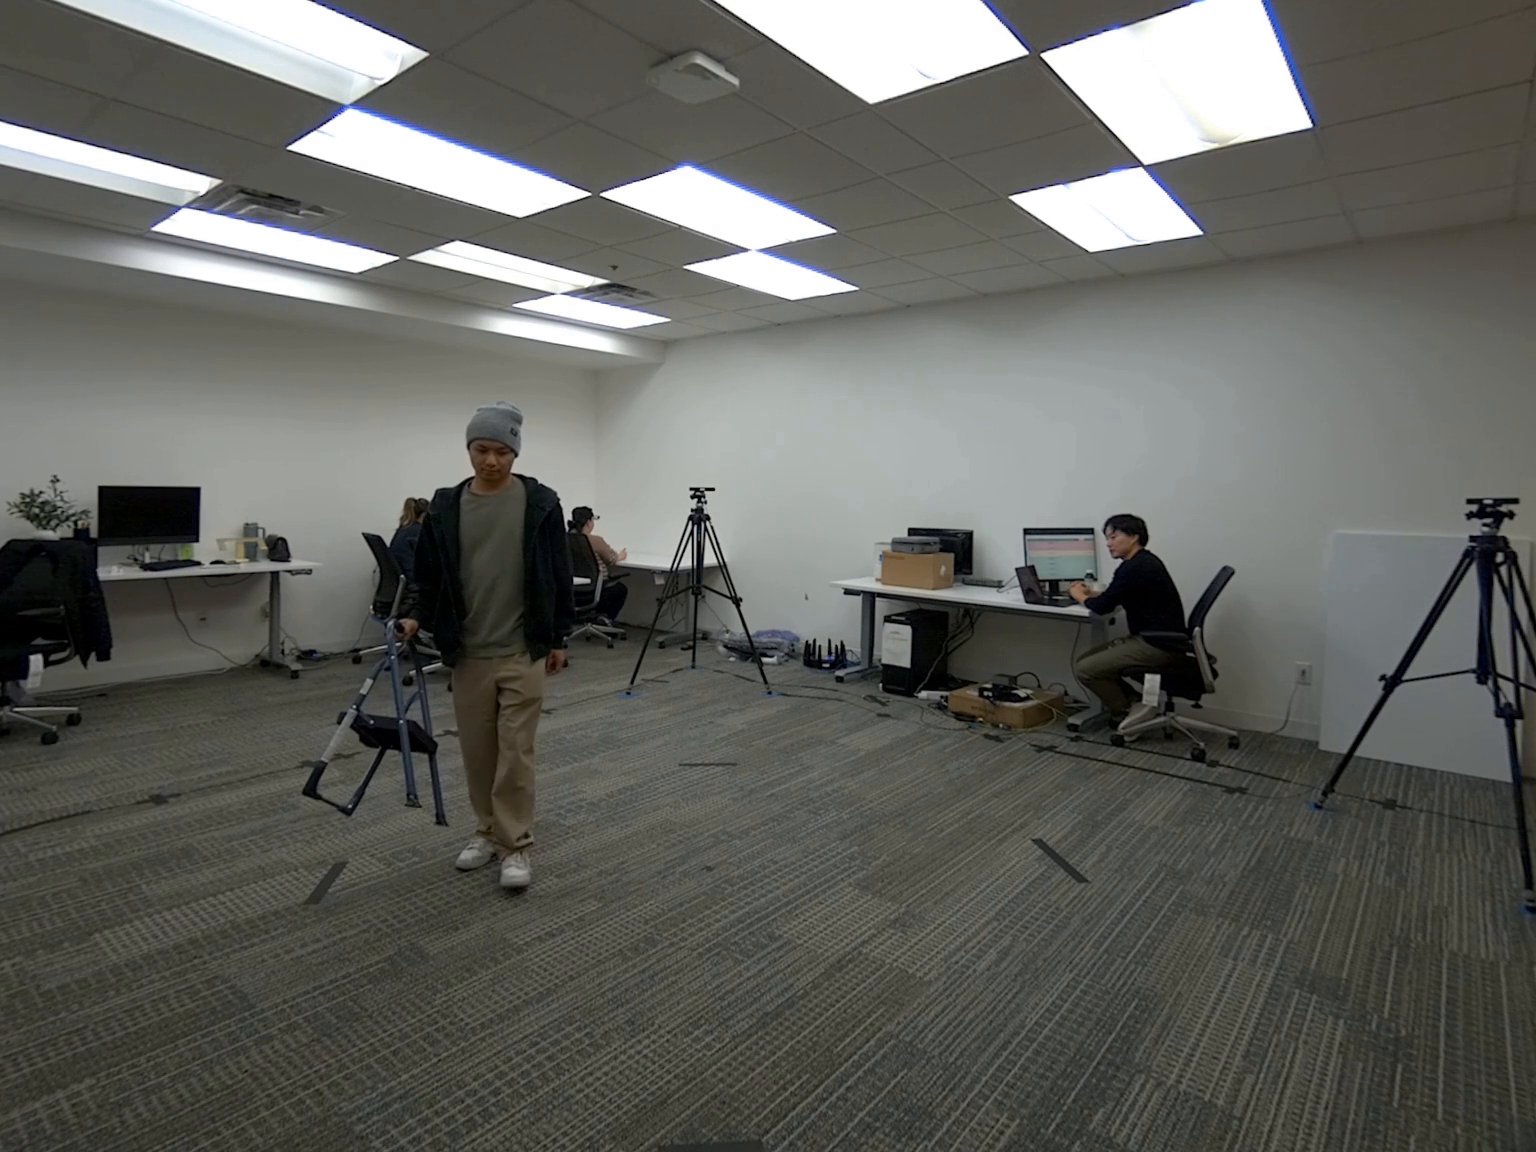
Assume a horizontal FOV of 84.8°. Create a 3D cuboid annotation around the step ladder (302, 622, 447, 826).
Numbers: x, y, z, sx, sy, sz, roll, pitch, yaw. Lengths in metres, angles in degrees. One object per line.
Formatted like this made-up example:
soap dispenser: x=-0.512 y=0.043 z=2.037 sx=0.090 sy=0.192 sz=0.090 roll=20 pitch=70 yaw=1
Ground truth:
step ladder: x=-1.234 y=0.466 z=2.812 sx=0.348 sy=0.618 sz=0.423 roll=7 pitch=-27 yaw=-4
